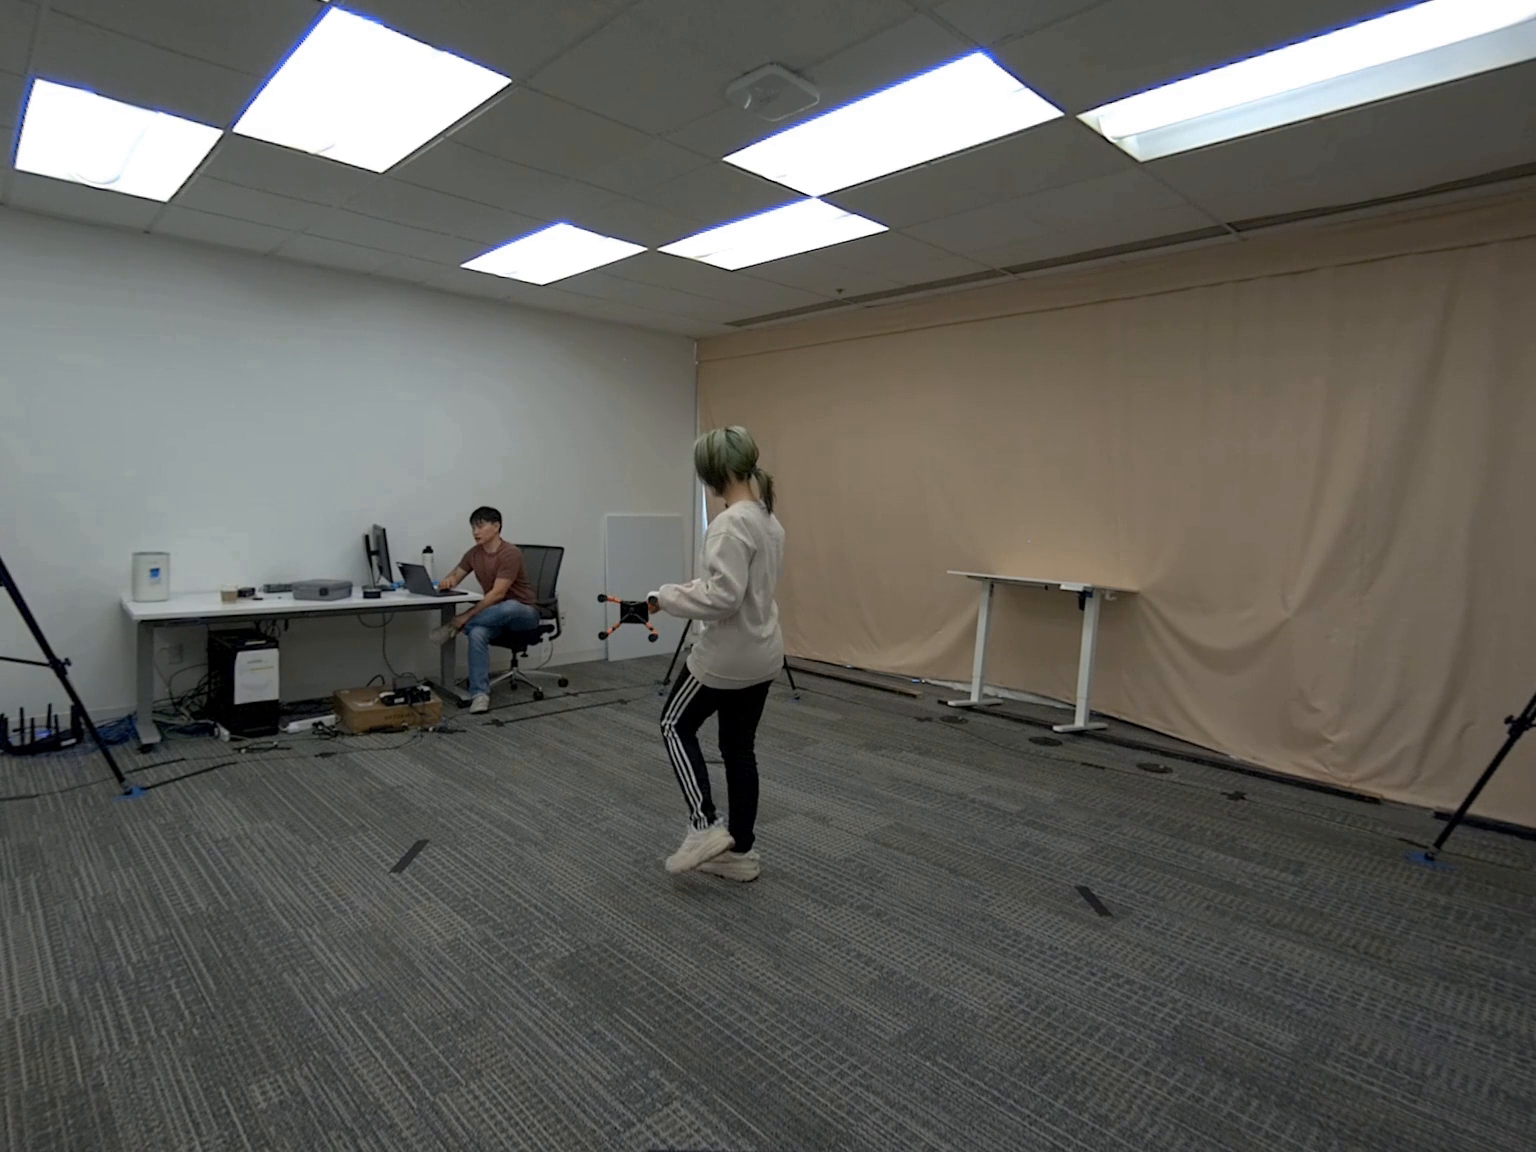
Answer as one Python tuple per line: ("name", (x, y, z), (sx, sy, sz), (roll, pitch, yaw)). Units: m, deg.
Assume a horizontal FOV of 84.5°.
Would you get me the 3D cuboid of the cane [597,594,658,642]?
("cane", (-0.363, 0.093, 3.167), (0.209, 0.151, 0.899), (0, 6, 15))
